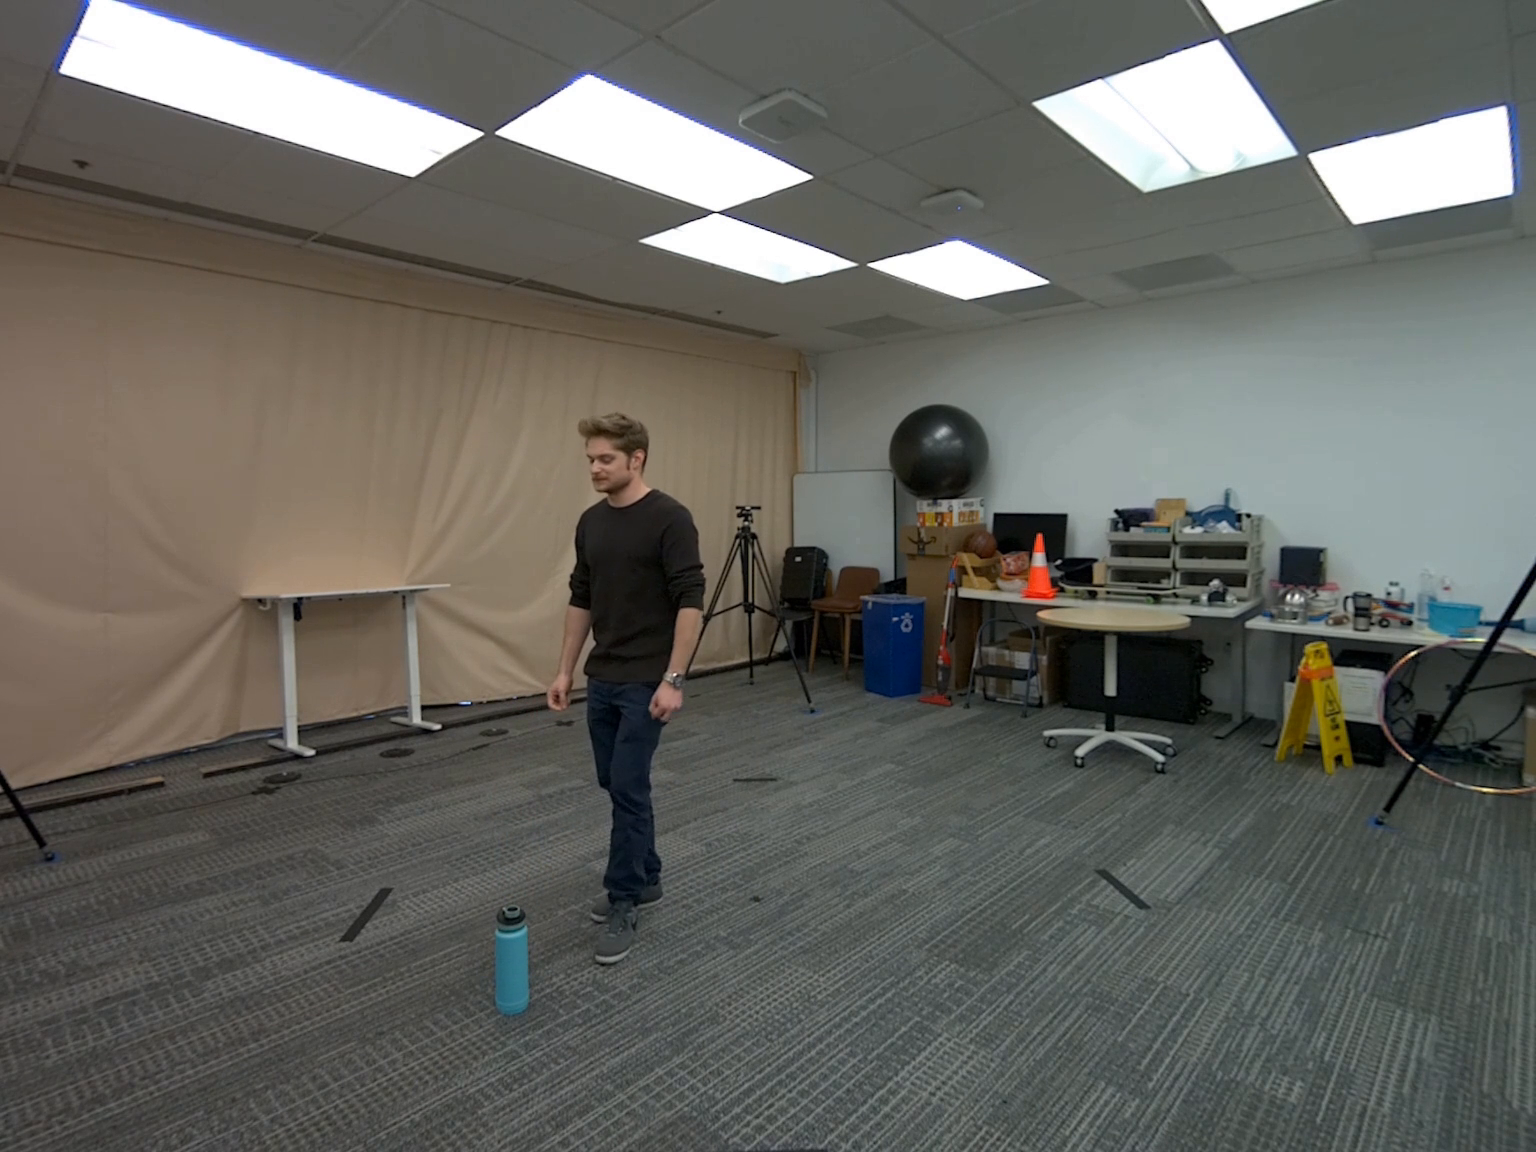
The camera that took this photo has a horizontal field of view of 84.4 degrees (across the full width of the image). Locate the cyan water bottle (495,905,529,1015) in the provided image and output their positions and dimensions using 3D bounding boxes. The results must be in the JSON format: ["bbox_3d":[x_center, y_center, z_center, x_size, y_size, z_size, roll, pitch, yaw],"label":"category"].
[{"bbox_3d":[-0.716,1.063,2.339,0.092,0.283,0.092,0,2,-2],"label":"cyan water bottle"}]
